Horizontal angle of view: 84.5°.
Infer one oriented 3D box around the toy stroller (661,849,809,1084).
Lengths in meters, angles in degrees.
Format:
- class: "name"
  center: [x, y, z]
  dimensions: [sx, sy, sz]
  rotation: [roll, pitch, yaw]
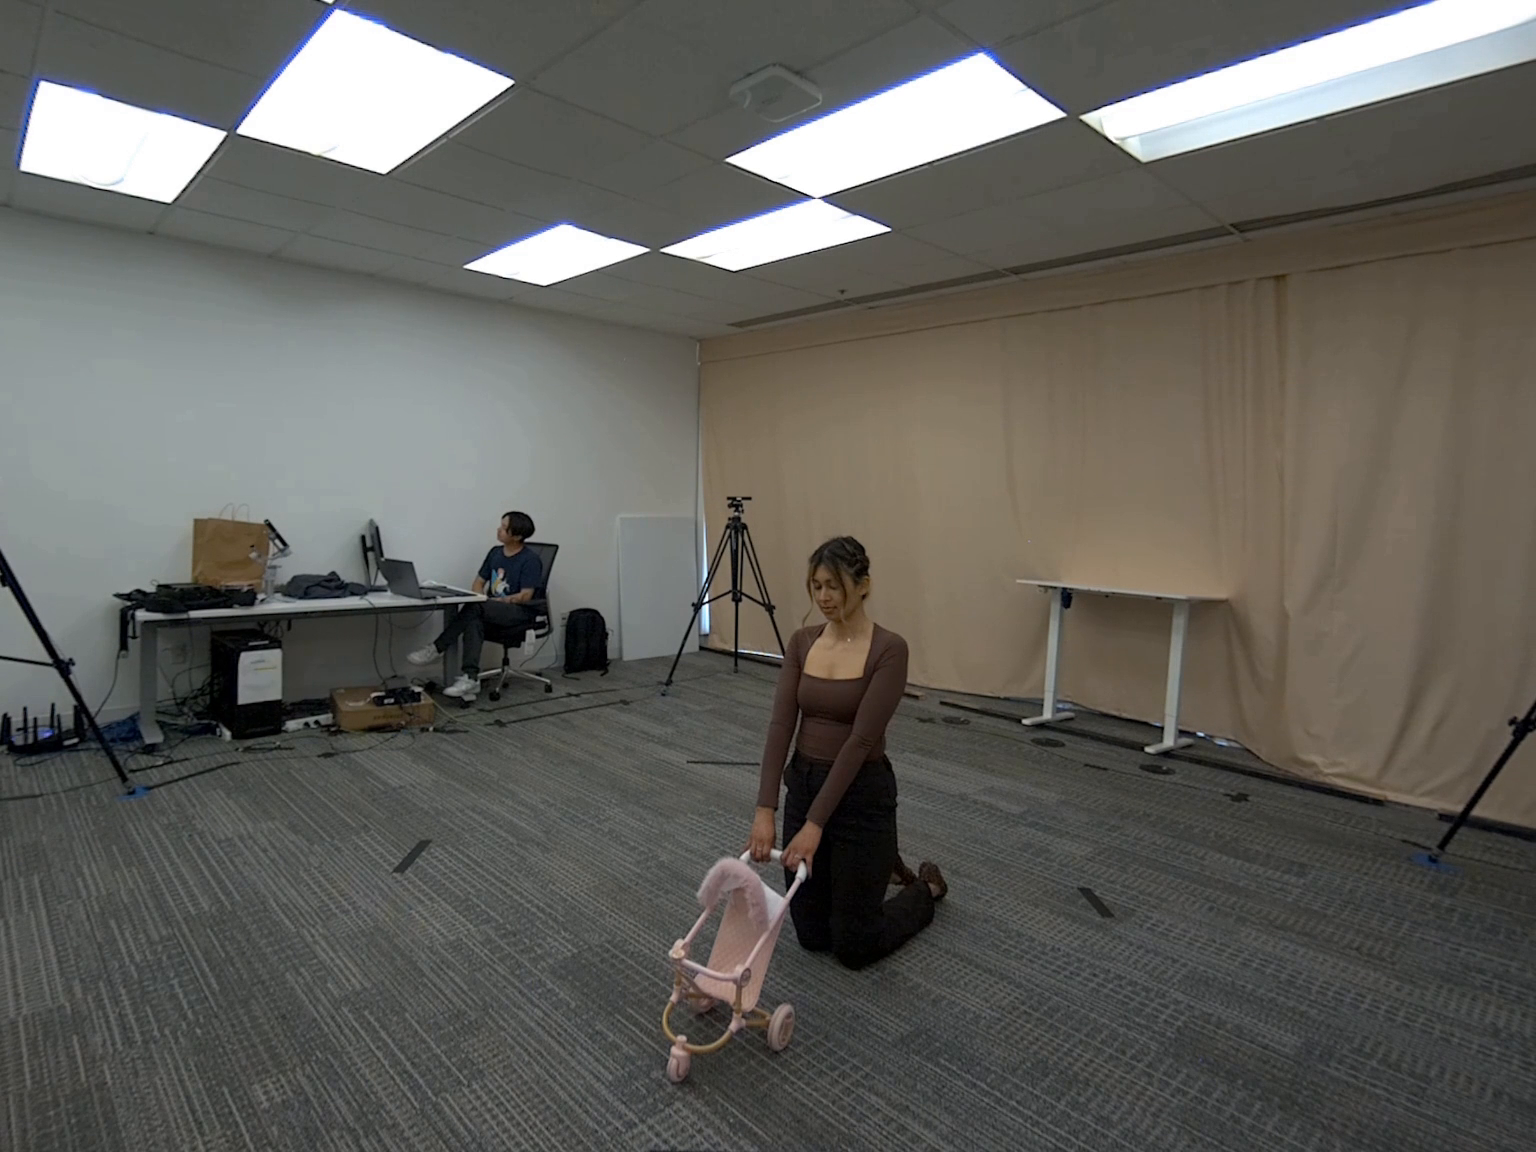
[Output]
- class: "toy stroller"
  center: [-0.106, 0.973, 2.149]
  dimensions: [0.288, 0.538, 0.331]
  rotation: [4, -14, 40]
